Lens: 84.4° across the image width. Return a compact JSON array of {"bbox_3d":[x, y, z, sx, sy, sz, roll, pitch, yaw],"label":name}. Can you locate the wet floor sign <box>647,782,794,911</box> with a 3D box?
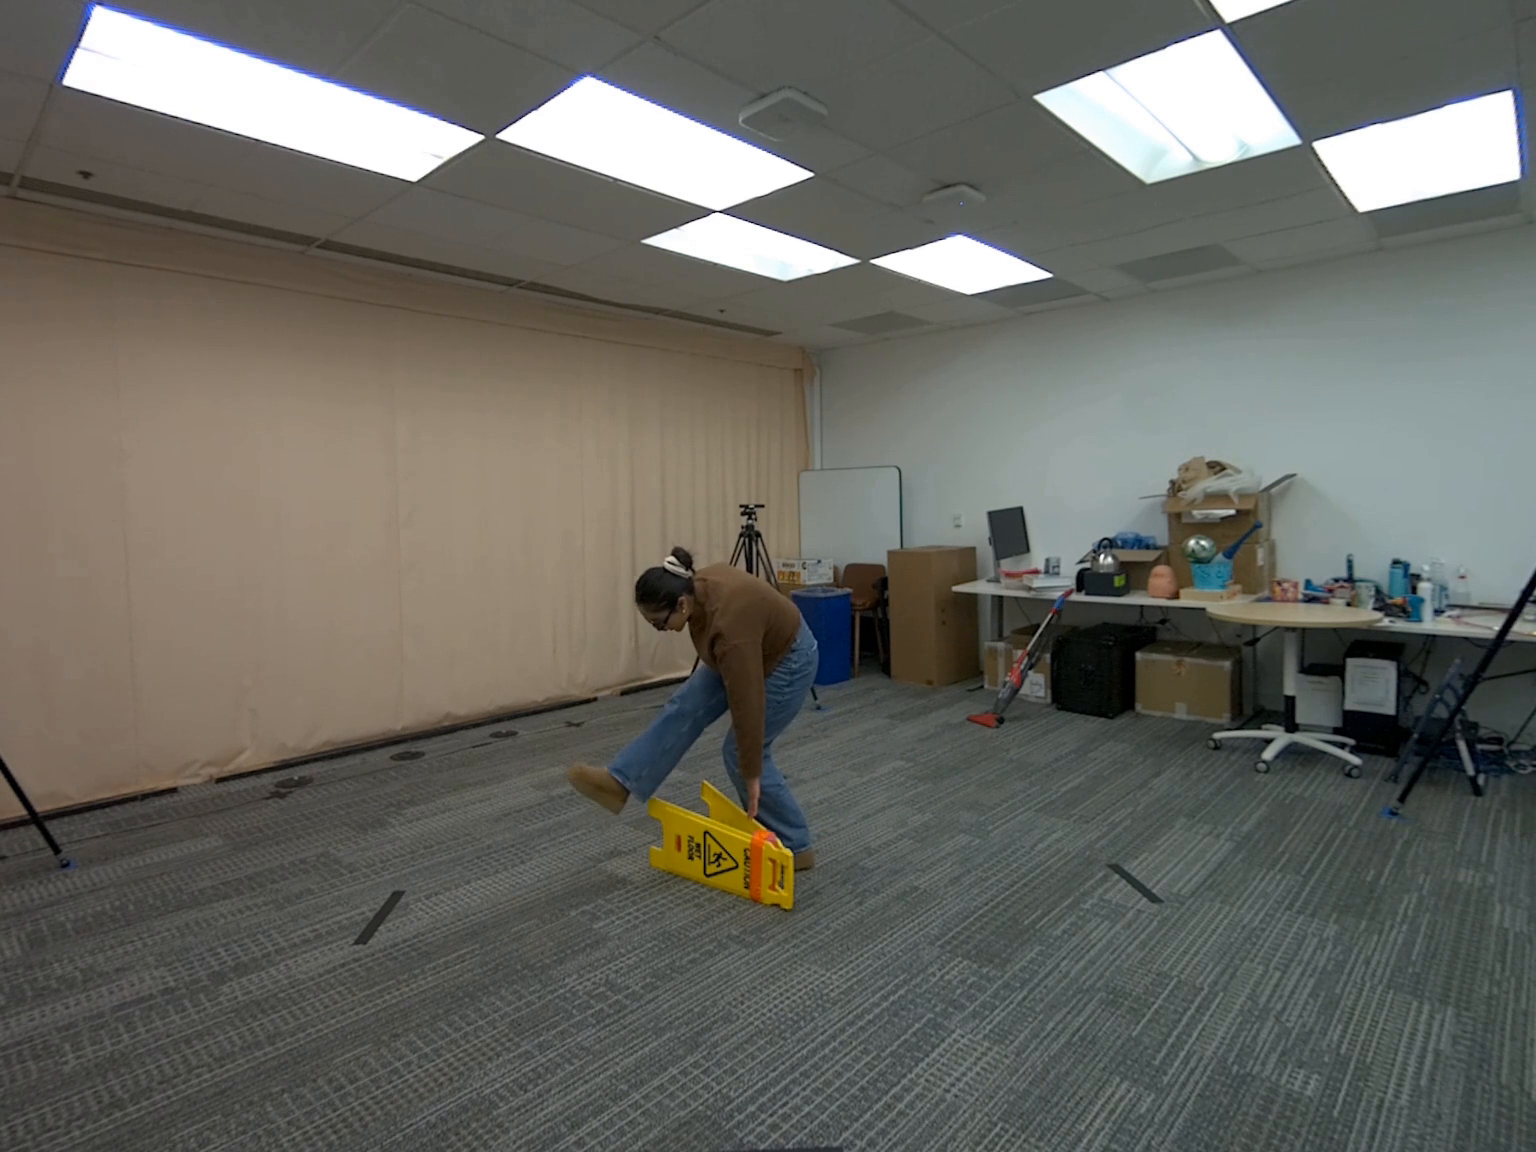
[{"bbox_3d":[-0.140,1.006,3.106,0.281,0.281,0.668,-5,8,-42],"label":"wet floor sign"}]
